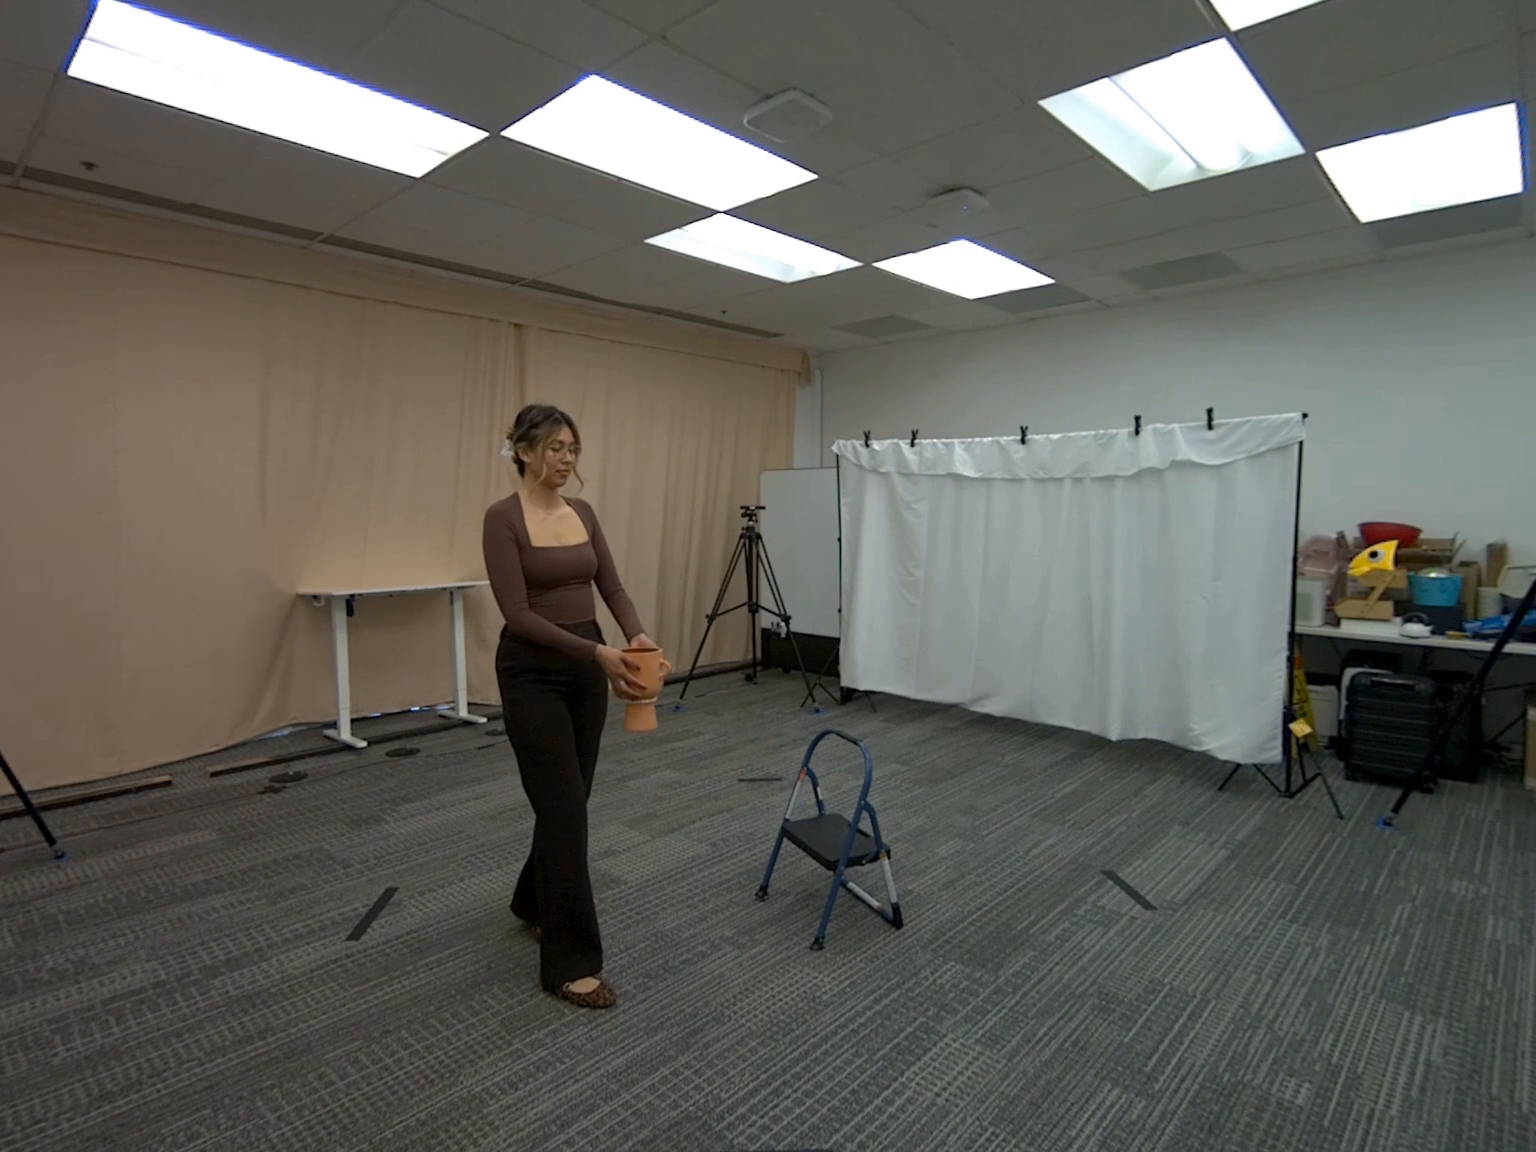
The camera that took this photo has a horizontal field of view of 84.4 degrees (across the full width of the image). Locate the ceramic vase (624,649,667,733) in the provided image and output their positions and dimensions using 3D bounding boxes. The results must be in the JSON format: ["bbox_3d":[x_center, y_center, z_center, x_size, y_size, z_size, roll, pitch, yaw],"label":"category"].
[{"bbox_3d":[-0.362,0.324,2.362,0.131,0.219,0.163,-3,2,-33],"label":"ceramic vase"}]
